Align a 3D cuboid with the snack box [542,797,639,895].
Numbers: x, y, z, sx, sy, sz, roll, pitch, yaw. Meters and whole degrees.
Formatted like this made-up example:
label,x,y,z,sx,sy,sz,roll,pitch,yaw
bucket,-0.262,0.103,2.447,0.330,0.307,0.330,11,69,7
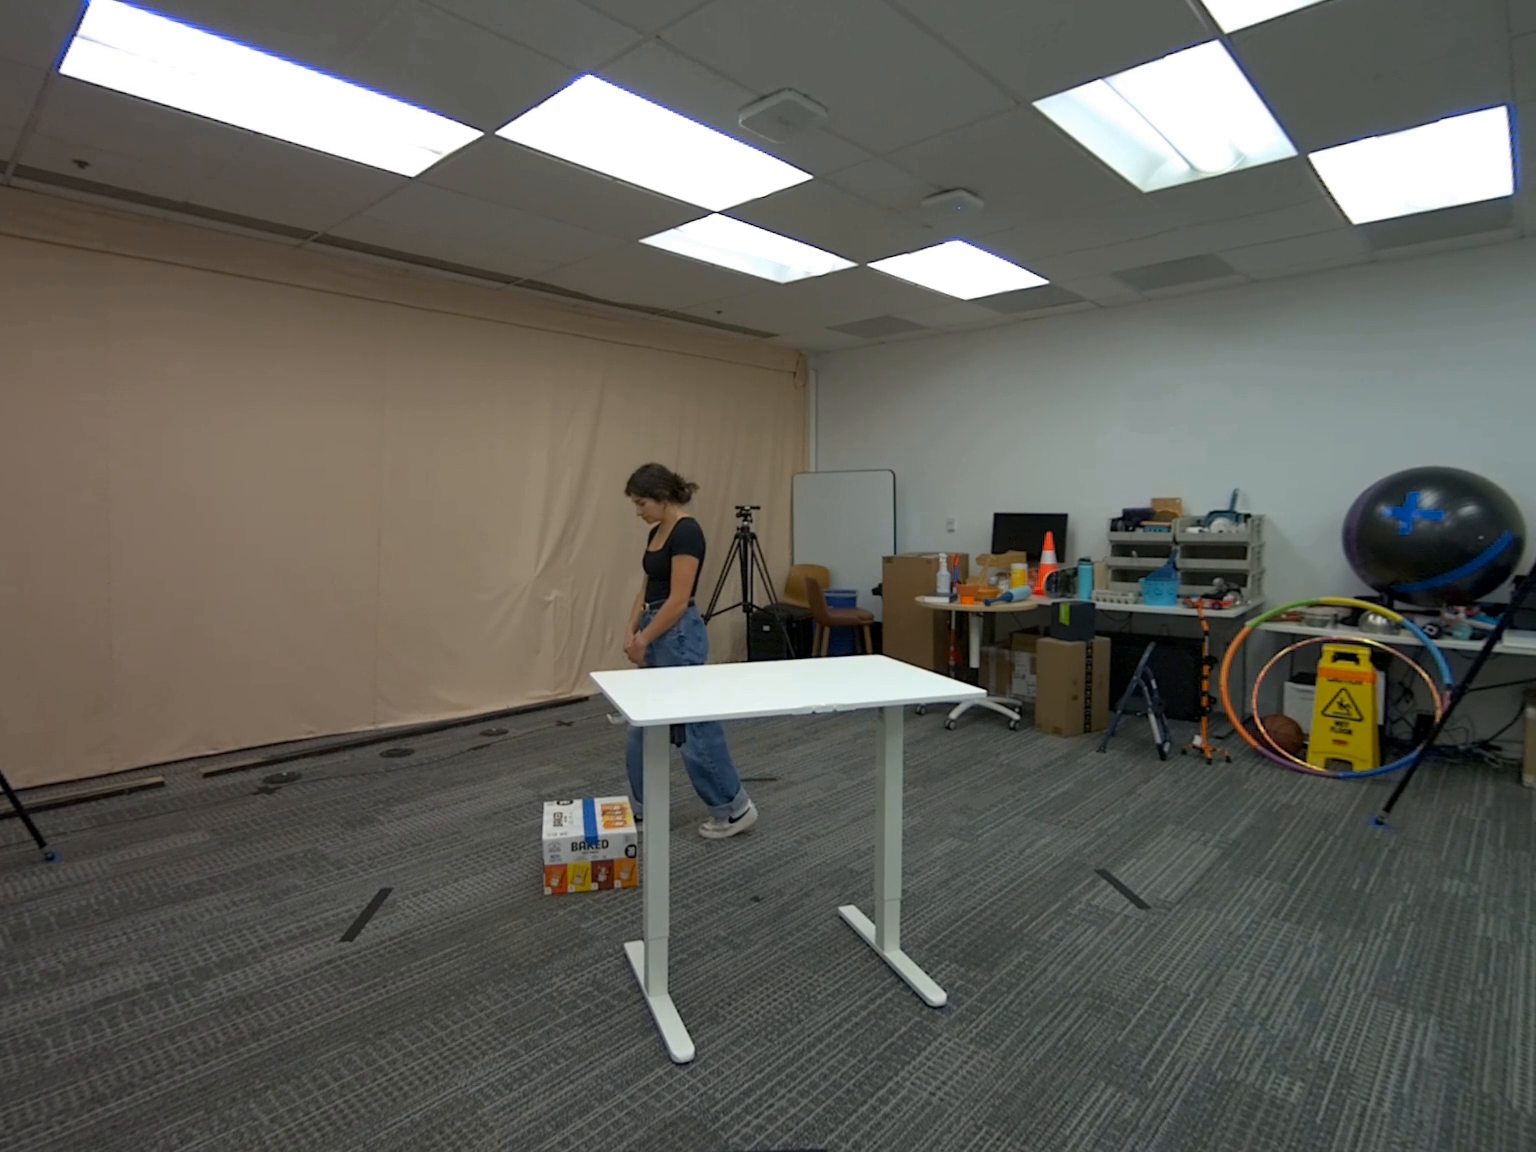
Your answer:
label,x,y,z,sx,sy,sz,roll,pitch,yaw
snack box,-0.695,1.028,3.243,0.336,0.205,0.411,-1,4,-13
